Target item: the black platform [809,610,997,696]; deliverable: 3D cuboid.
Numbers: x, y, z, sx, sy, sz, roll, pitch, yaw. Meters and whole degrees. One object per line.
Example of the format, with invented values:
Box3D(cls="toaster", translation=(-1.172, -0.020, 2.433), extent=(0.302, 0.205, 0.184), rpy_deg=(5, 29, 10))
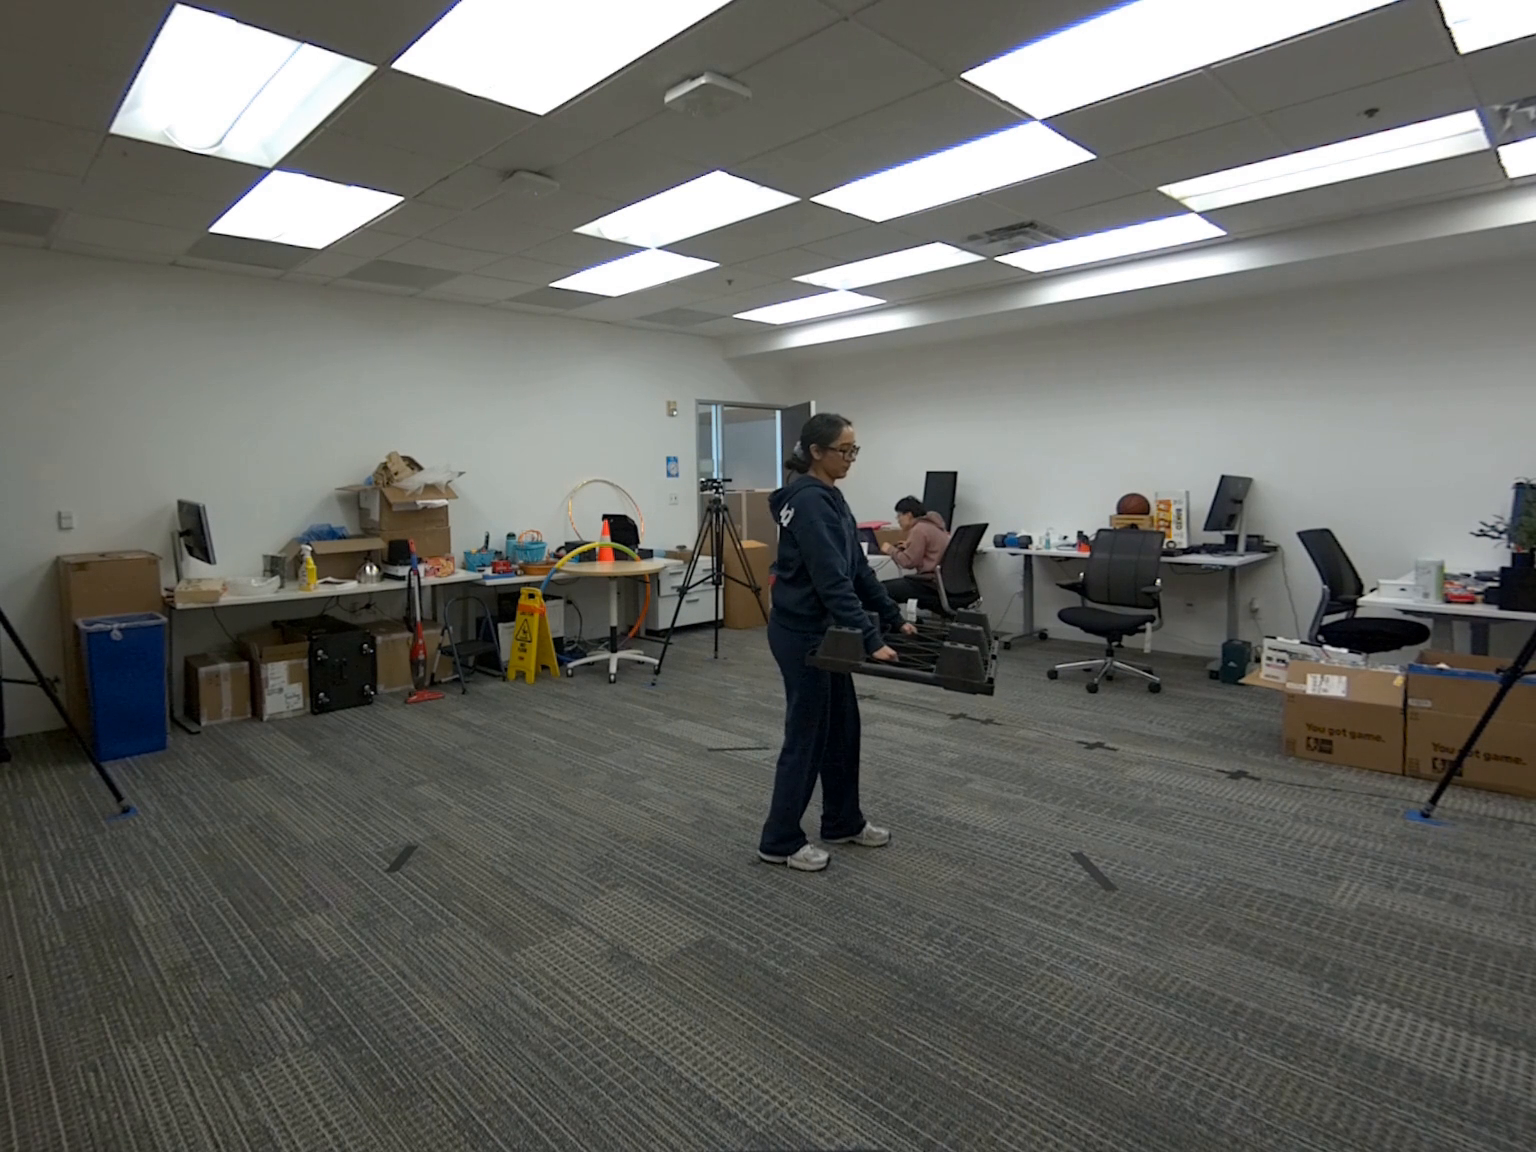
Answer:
Box3D(cls="black platform", translation=(0.519, 0.221, 3.074), extent=(0.616, 0.142, 0.795), rpy_deg=(7, 8, 16))
